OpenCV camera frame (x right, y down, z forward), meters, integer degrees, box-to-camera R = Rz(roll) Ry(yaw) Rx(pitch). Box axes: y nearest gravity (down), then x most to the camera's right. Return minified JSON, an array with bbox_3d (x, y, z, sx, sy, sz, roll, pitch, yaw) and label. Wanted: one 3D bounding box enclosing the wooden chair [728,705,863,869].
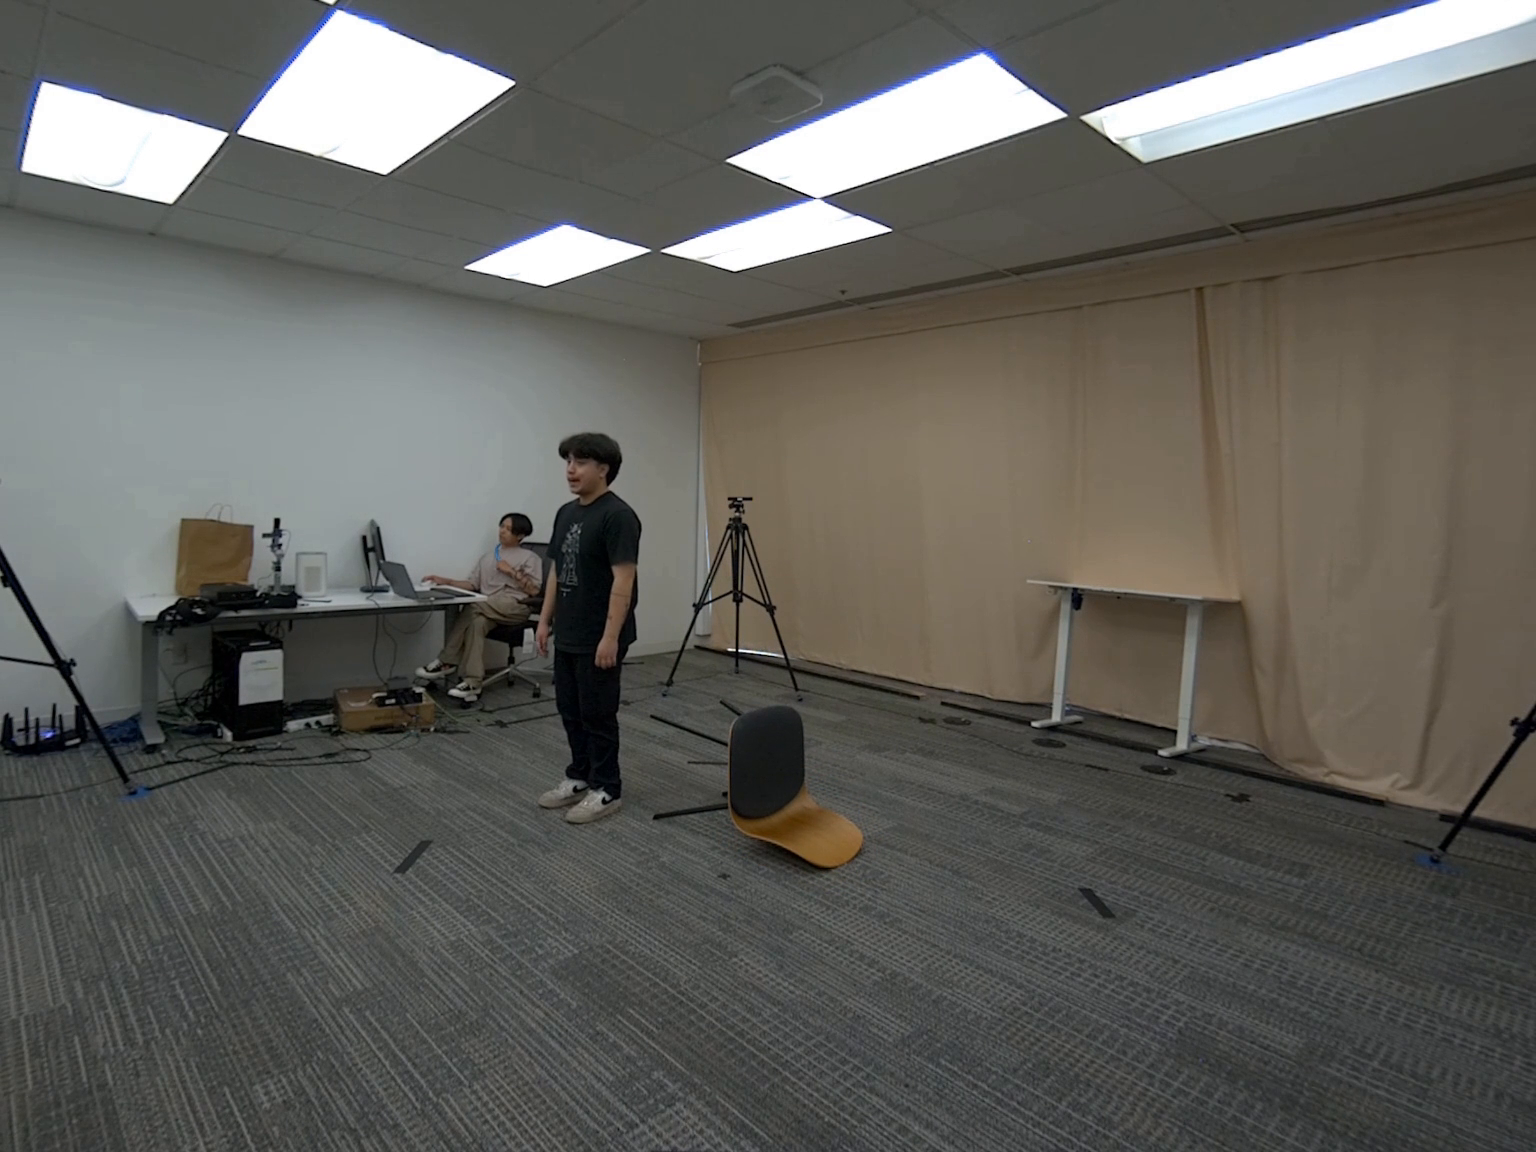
[{"bbox_3d":[-0.042,0.817,3.507,0.900,0.521,0.467,7,6,42],"label":"wooden chair"}]
